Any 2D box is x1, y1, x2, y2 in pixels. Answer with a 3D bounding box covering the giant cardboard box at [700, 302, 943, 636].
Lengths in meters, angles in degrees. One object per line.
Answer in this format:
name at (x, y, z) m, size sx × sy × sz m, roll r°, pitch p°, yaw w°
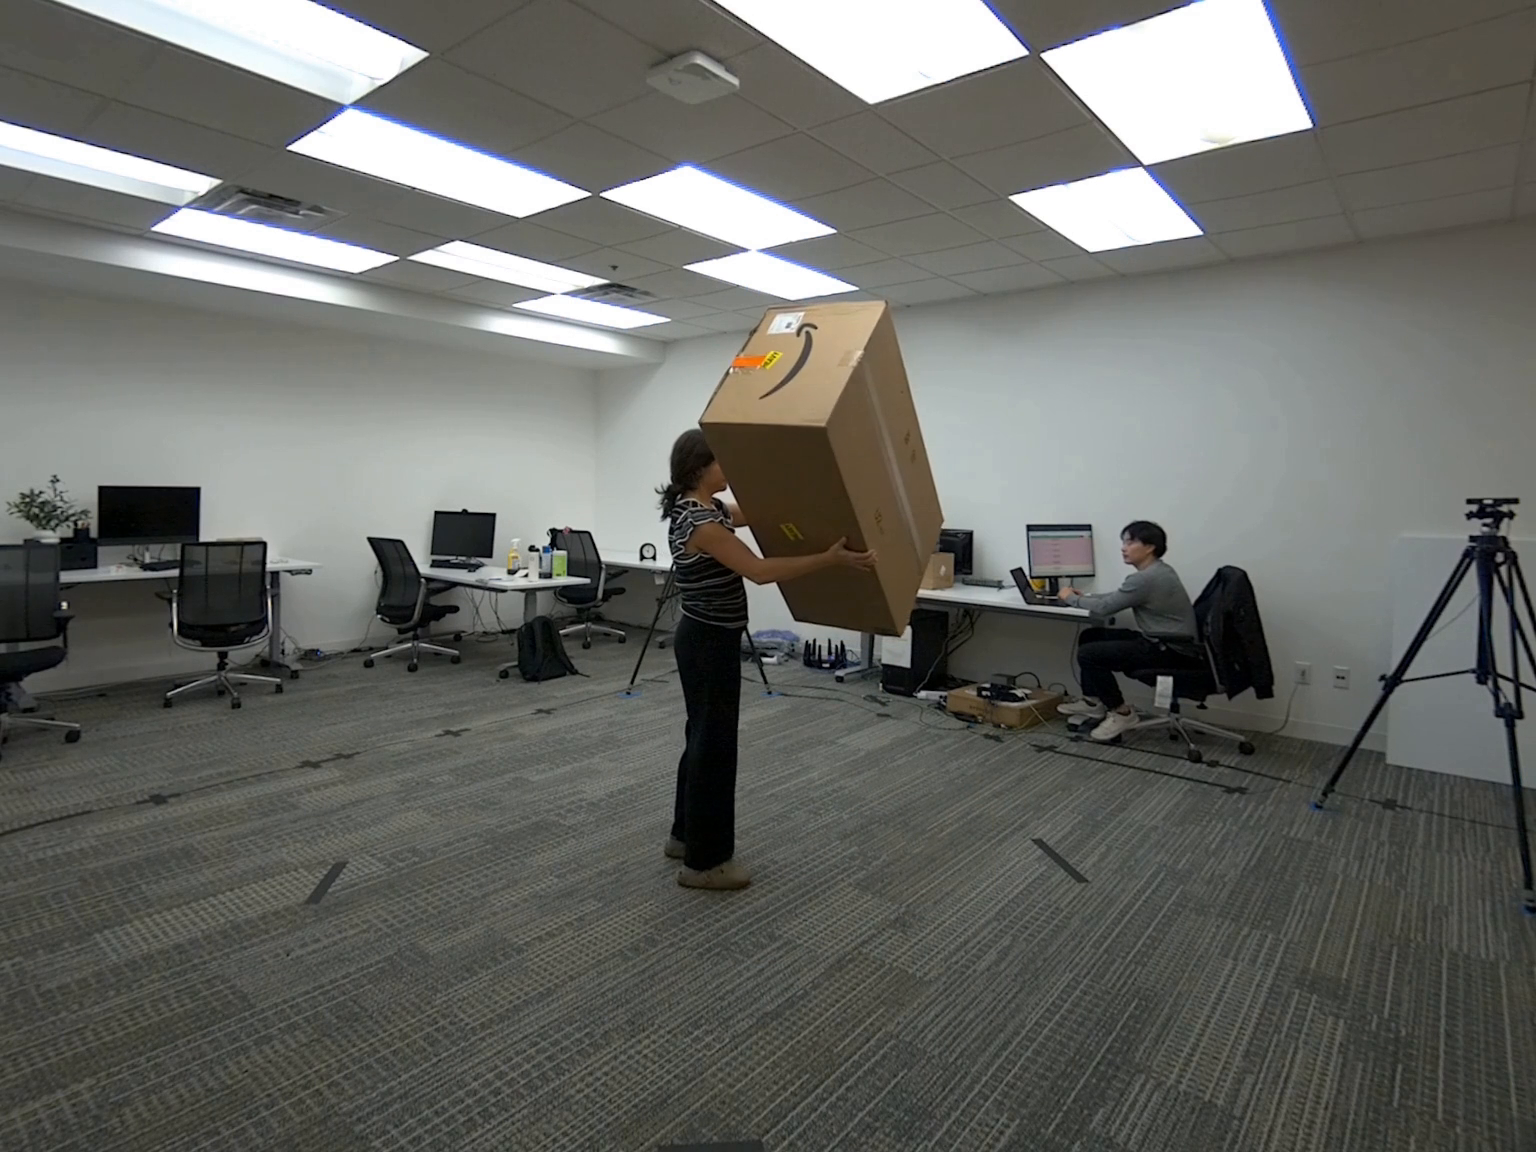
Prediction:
giant cardboard box at (0.223, -0.338, 2.926) m, size 0.439 × 0.583 × 0.985 m, roll 6°, pitch -37°, yaw 29°
